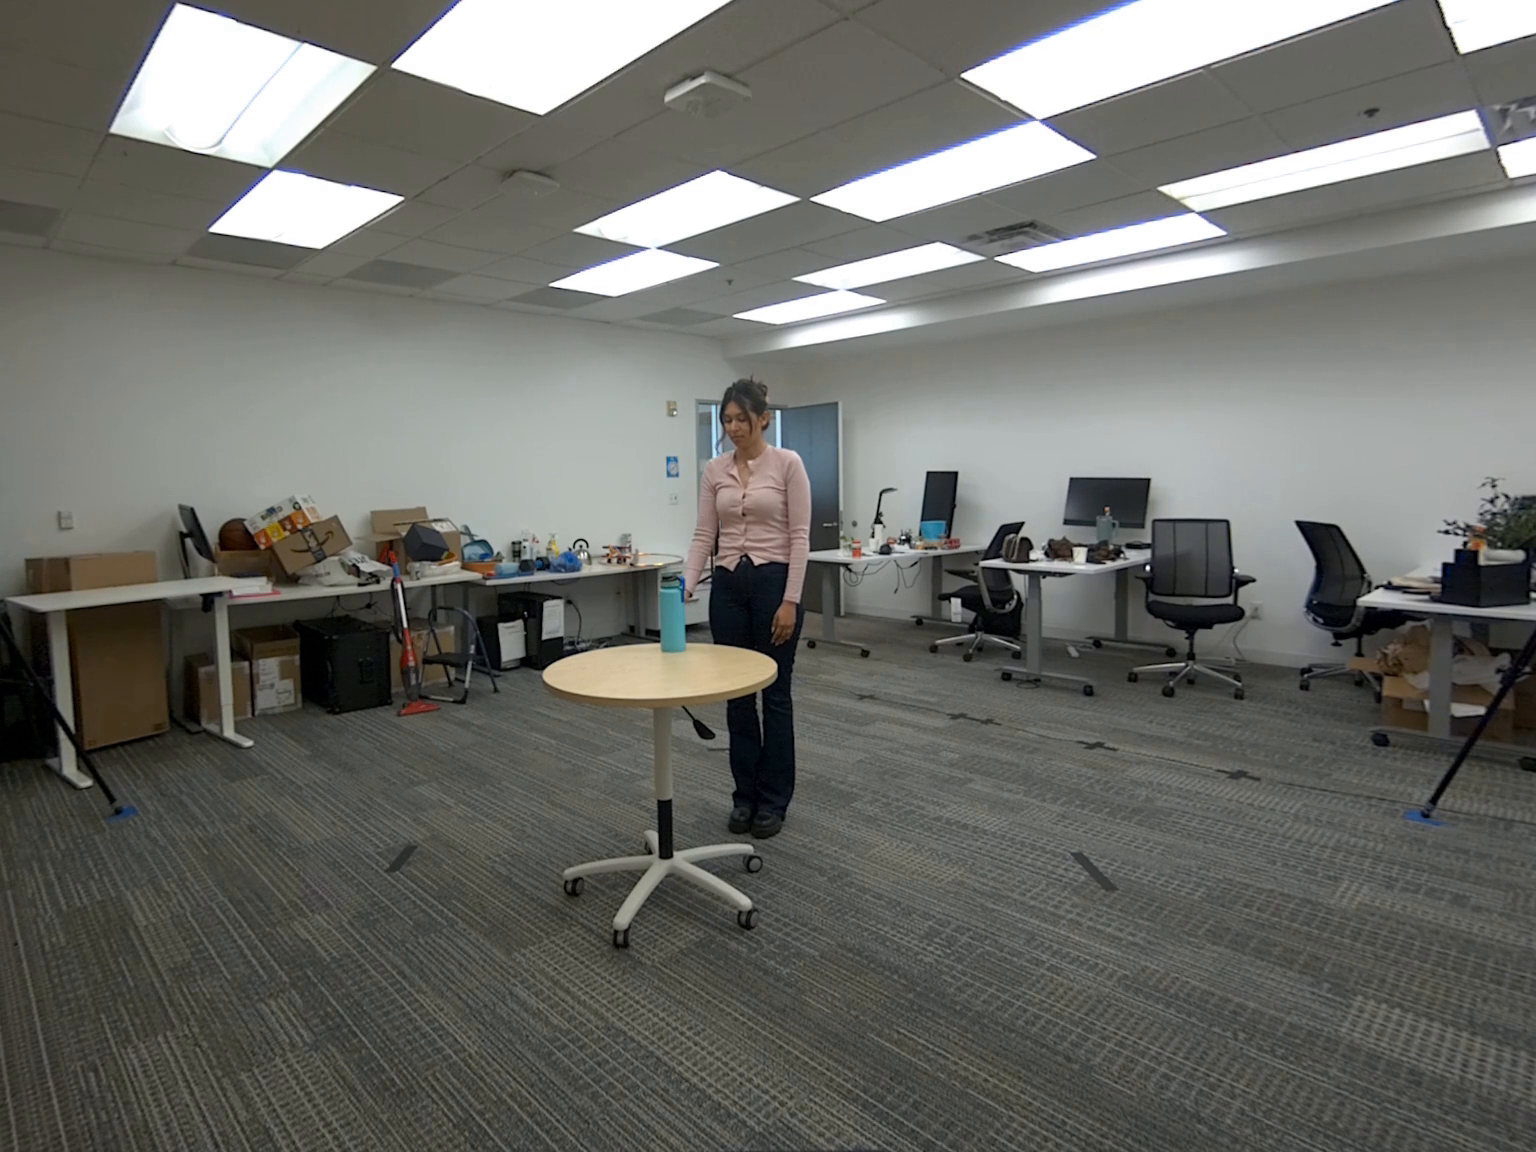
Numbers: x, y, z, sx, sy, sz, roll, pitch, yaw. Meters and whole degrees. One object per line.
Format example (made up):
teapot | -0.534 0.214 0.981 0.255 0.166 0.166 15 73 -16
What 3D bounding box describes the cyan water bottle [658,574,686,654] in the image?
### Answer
cyan water bottle | -0.345 0.130 3.064 0.092 0.283 0.092 -2 2 -2
